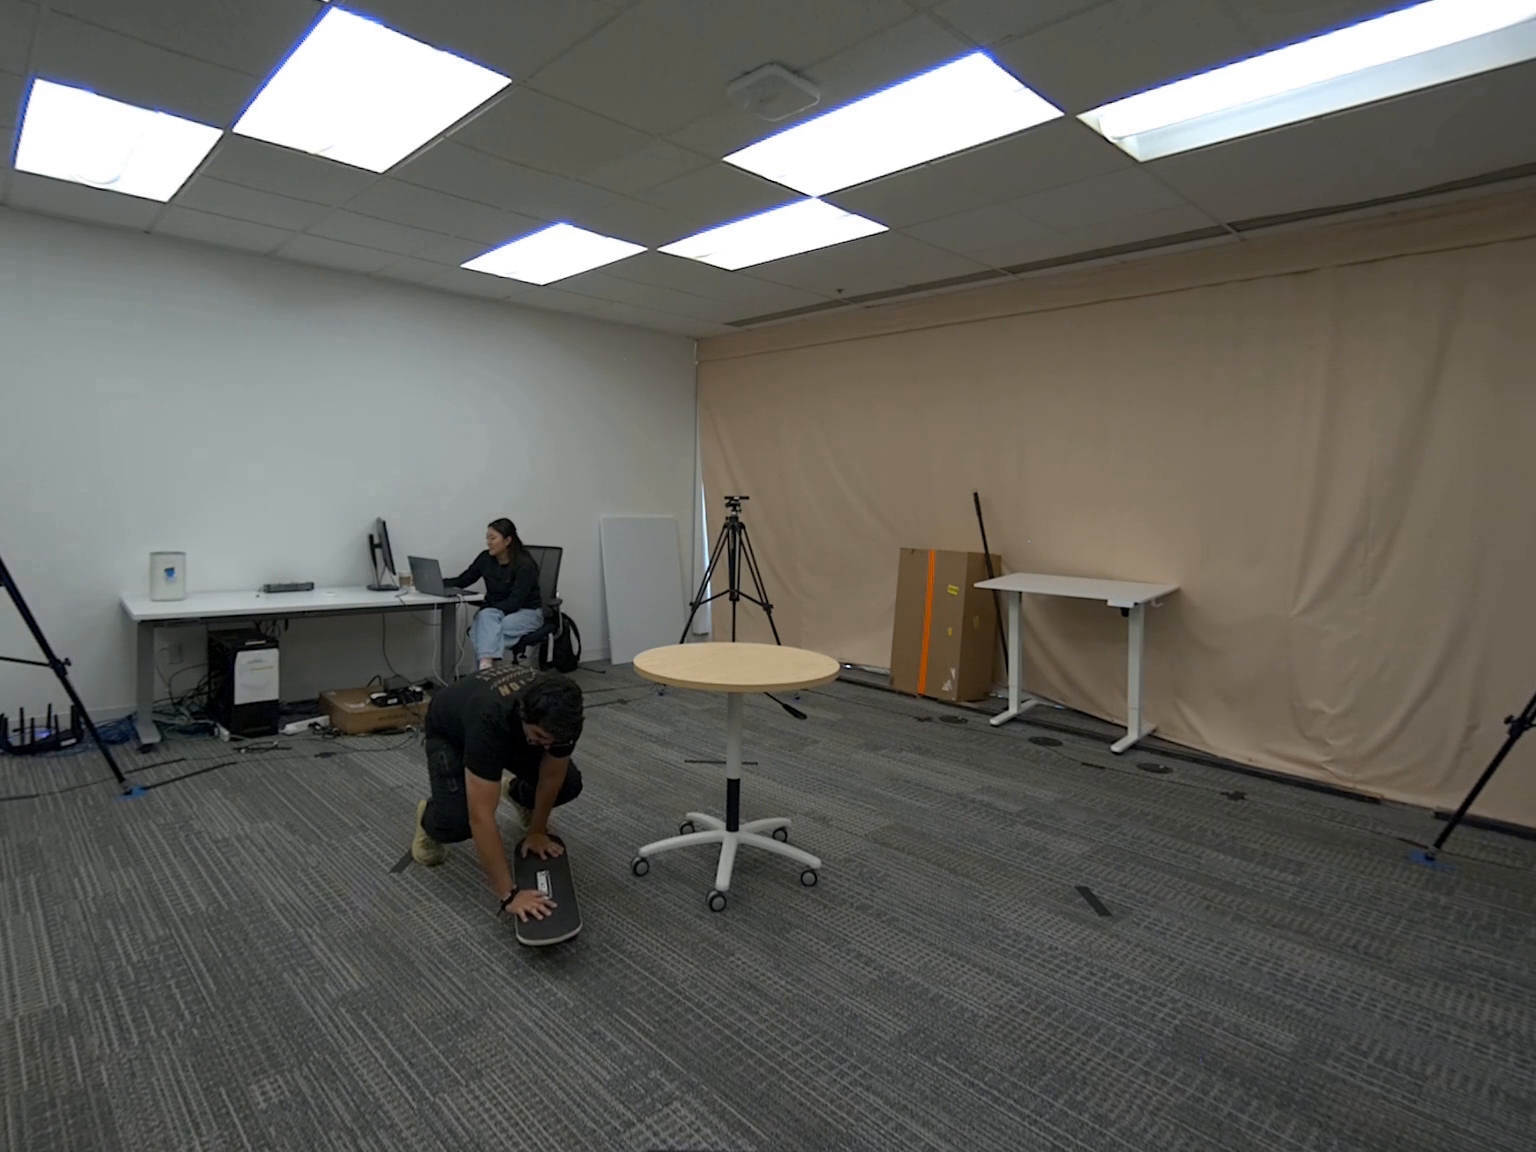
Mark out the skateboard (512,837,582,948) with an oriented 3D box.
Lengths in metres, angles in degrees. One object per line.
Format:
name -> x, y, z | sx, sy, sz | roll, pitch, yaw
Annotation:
skateboard -> -0.750, 1.064, 2.800 | 0.191, 0.110, 0.798 | -3, 6, -17
